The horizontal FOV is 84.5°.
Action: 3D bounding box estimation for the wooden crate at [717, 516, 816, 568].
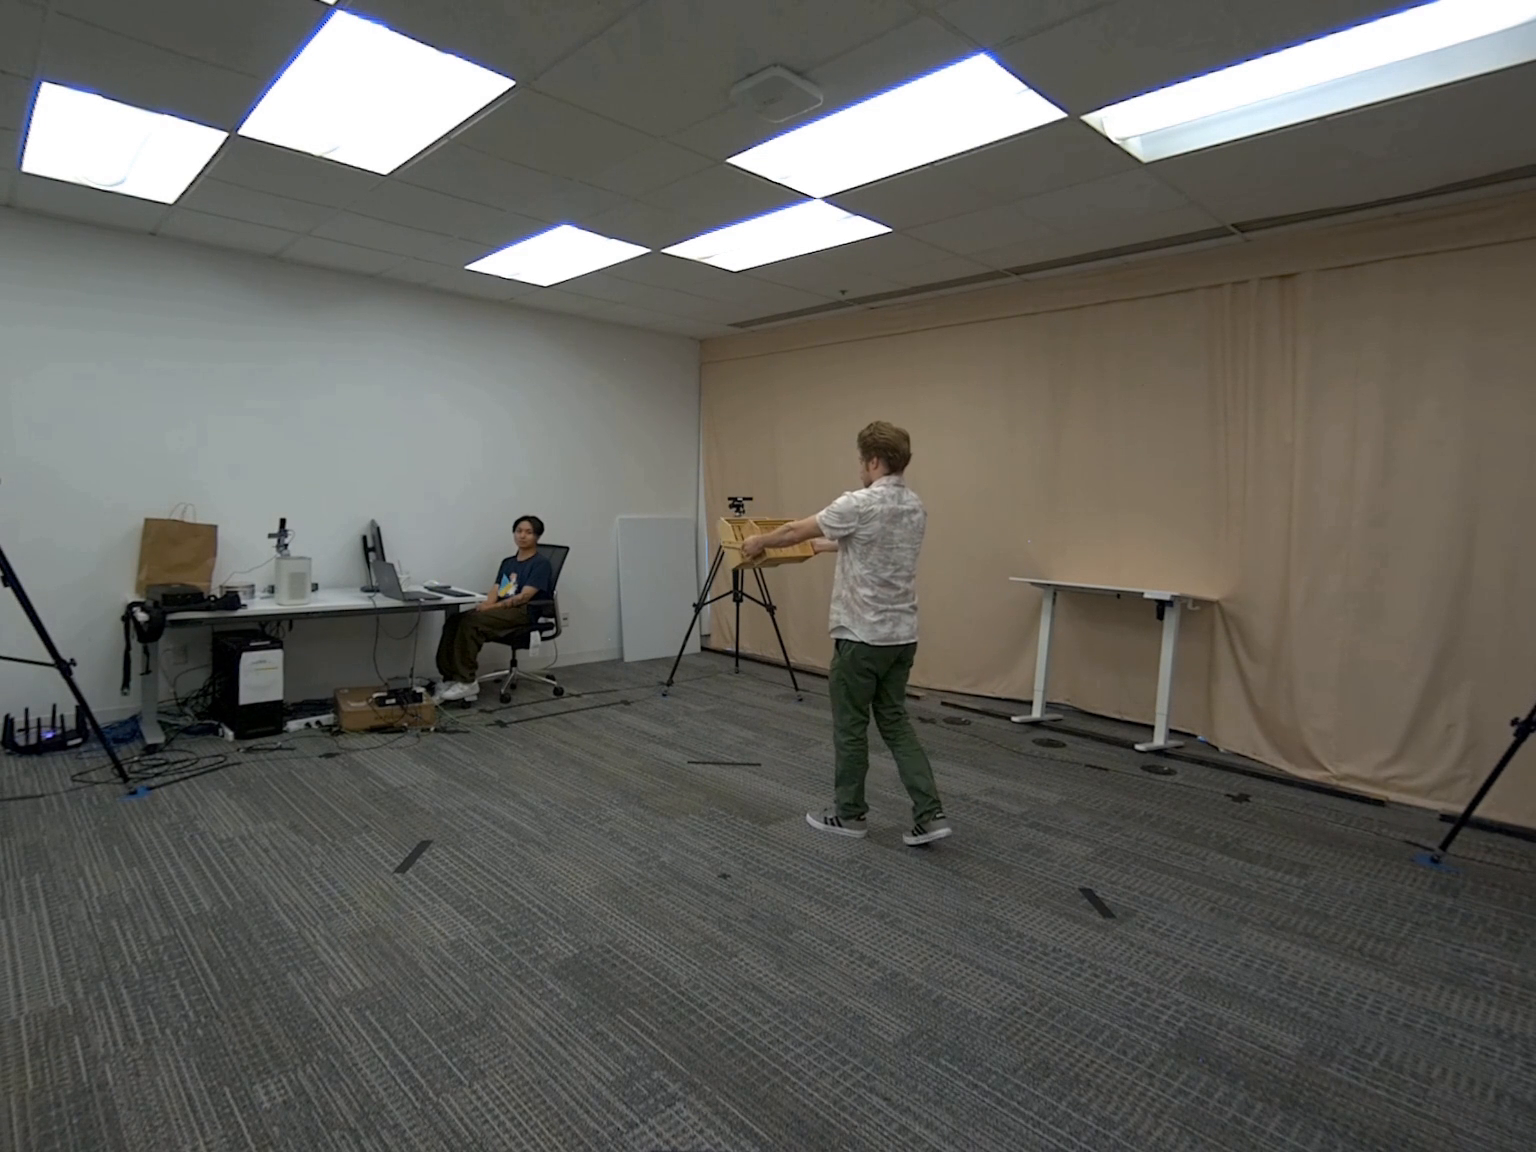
[{"bbox_3d":[-0.021,-0.175,3.962,0.317,0.307,0.275,-4,-22,-42],"label":"wooden crate"}]
